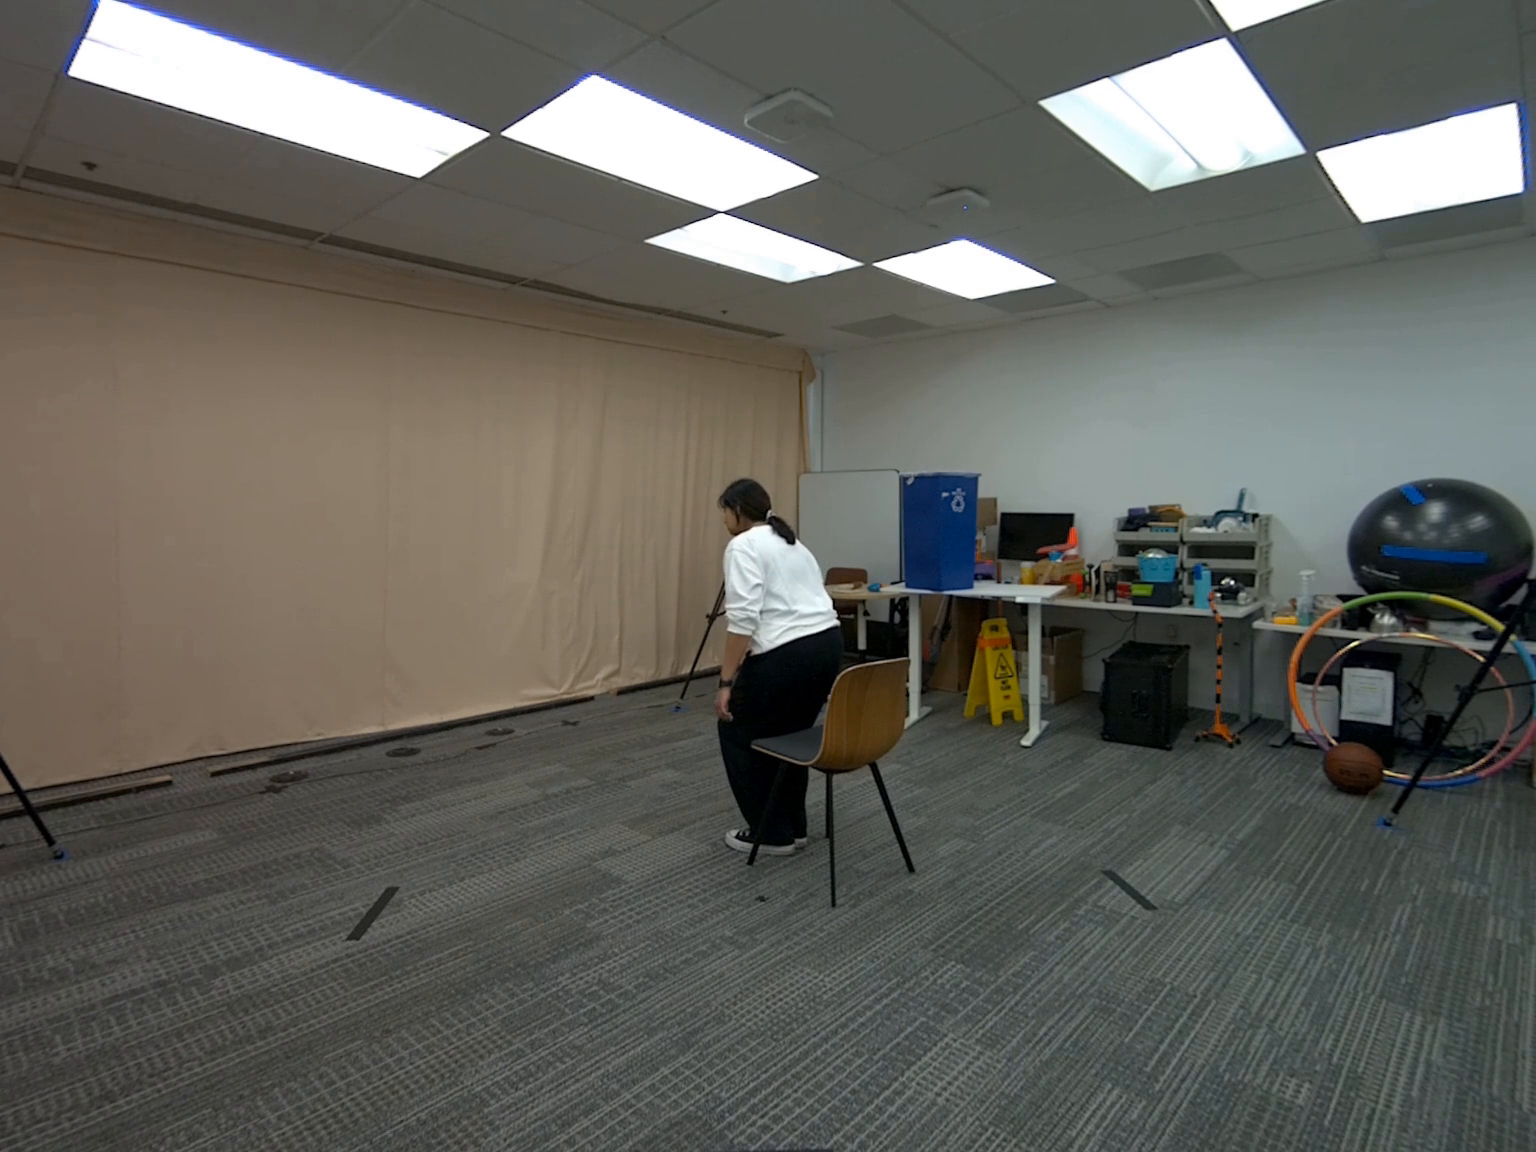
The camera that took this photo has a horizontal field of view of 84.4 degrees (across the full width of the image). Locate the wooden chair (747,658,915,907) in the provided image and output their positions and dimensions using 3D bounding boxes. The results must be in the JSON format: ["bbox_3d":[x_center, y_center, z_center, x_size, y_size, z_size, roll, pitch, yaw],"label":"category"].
[{"bbox_3d":[0.242,0.694,3.200,0.463,0.874,0.541,-3,9,-41],"label":"wooden chair"}]
